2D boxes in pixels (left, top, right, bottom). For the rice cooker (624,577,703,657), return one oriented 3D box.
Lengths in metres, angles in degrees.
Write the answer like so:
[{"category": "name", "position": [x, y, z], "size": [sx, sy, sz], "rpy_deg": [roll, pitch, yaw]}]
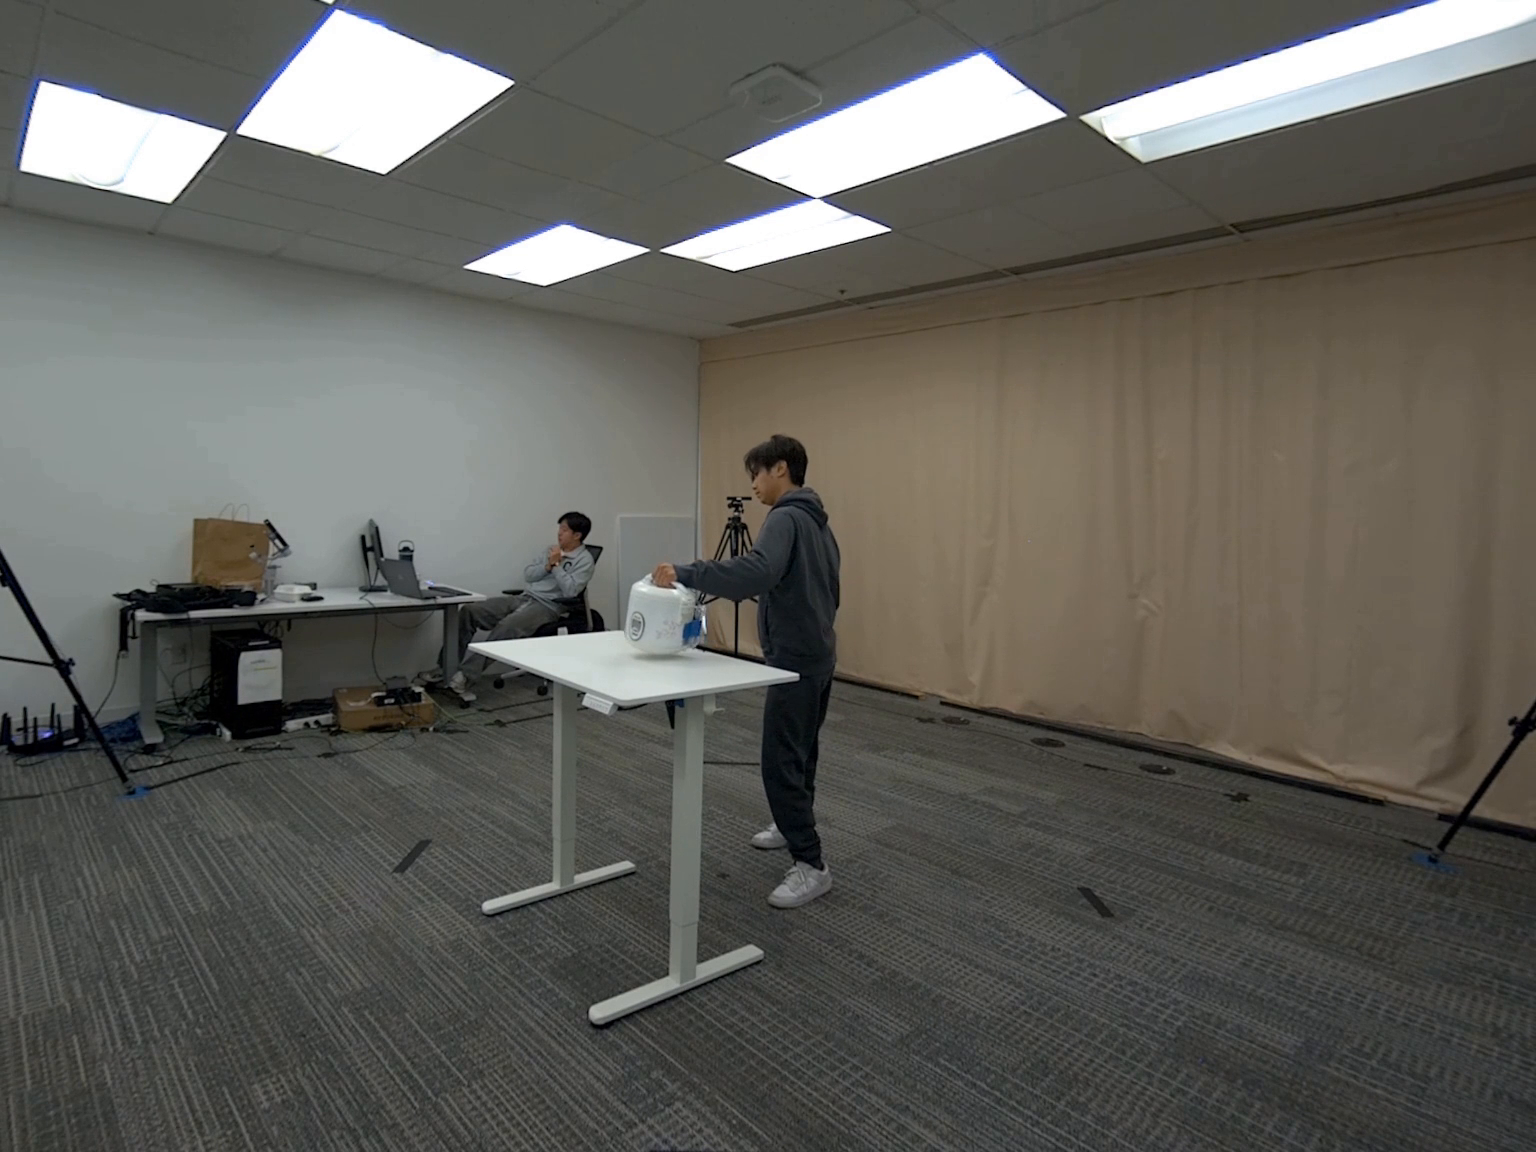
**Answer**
[{"category": "rice cooker", "position": [-0.350, 0.118, 2.656], "size": [0.226, 0.232, 0.212], "rpy_deg": [14, 8, 34]}]
